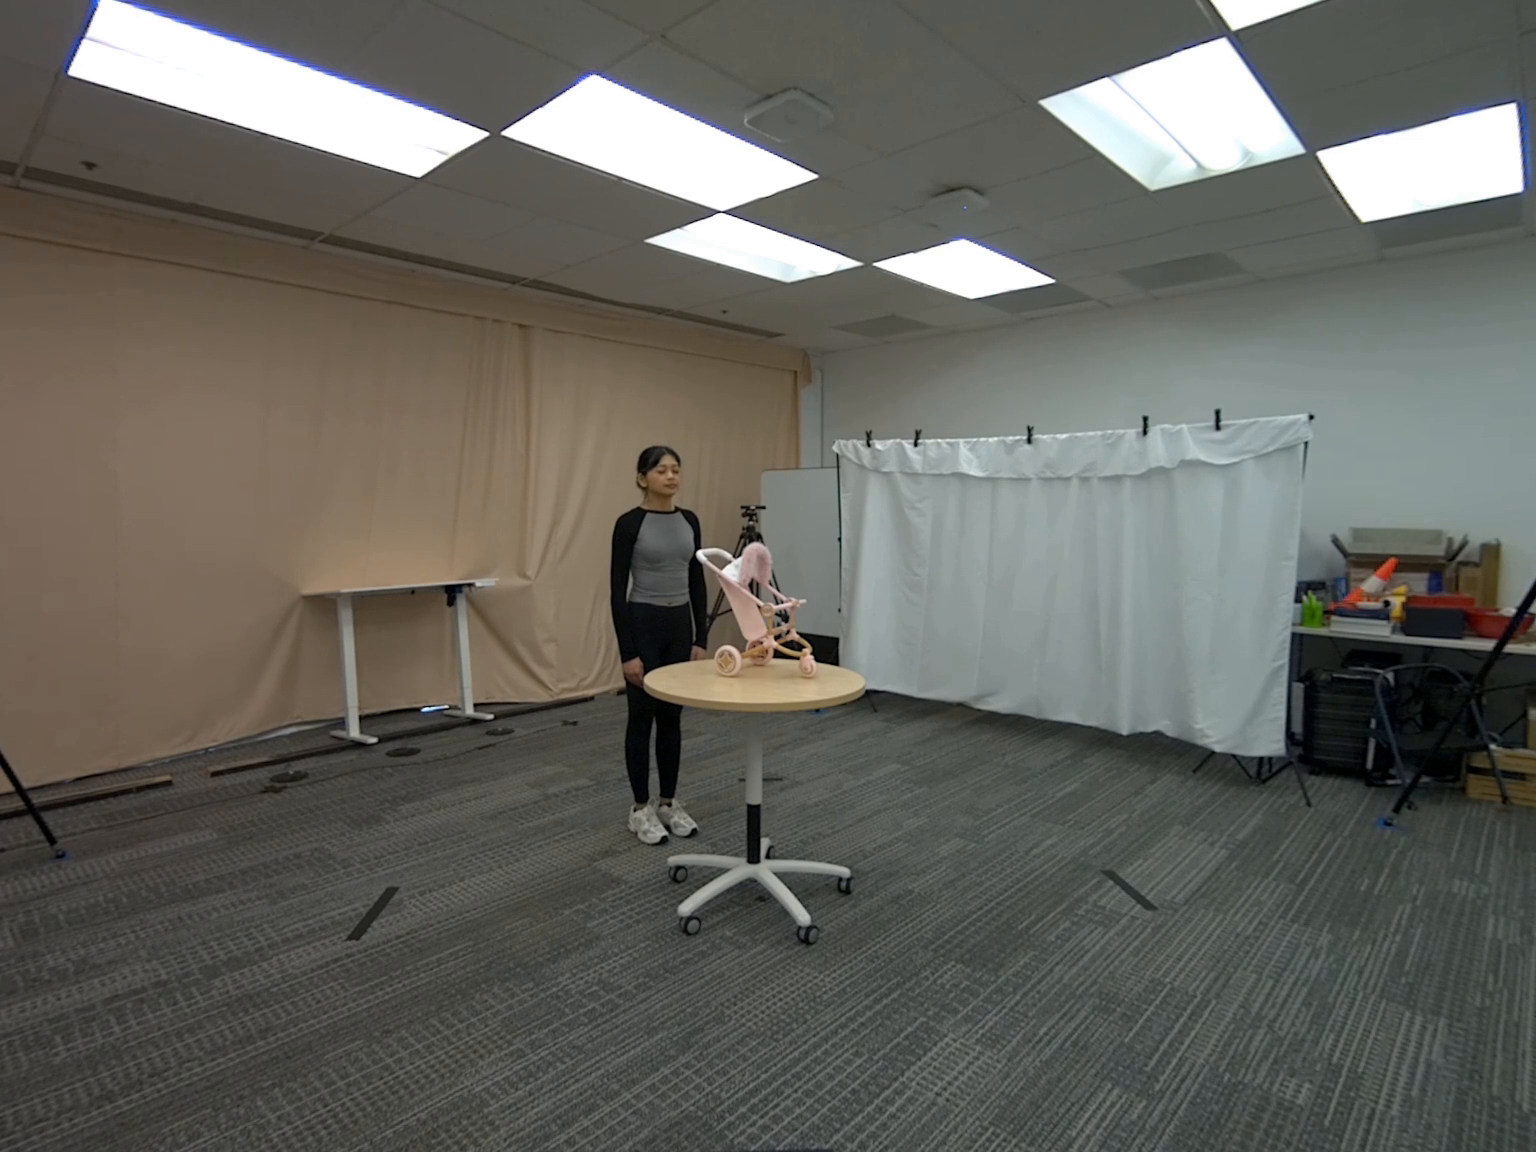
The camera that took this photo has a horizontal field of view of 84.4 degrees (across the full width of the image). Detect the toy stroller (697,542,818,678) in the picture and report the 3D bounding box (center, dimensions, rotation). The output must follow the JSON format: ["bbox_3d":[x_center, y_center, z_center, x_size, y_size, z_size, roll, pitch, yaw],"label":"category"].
[{"bbox_3d":[-0.024,0.123,3.012,0.349,0.537,0.274,-15,-5,32],"label":"toy stroller"}]
